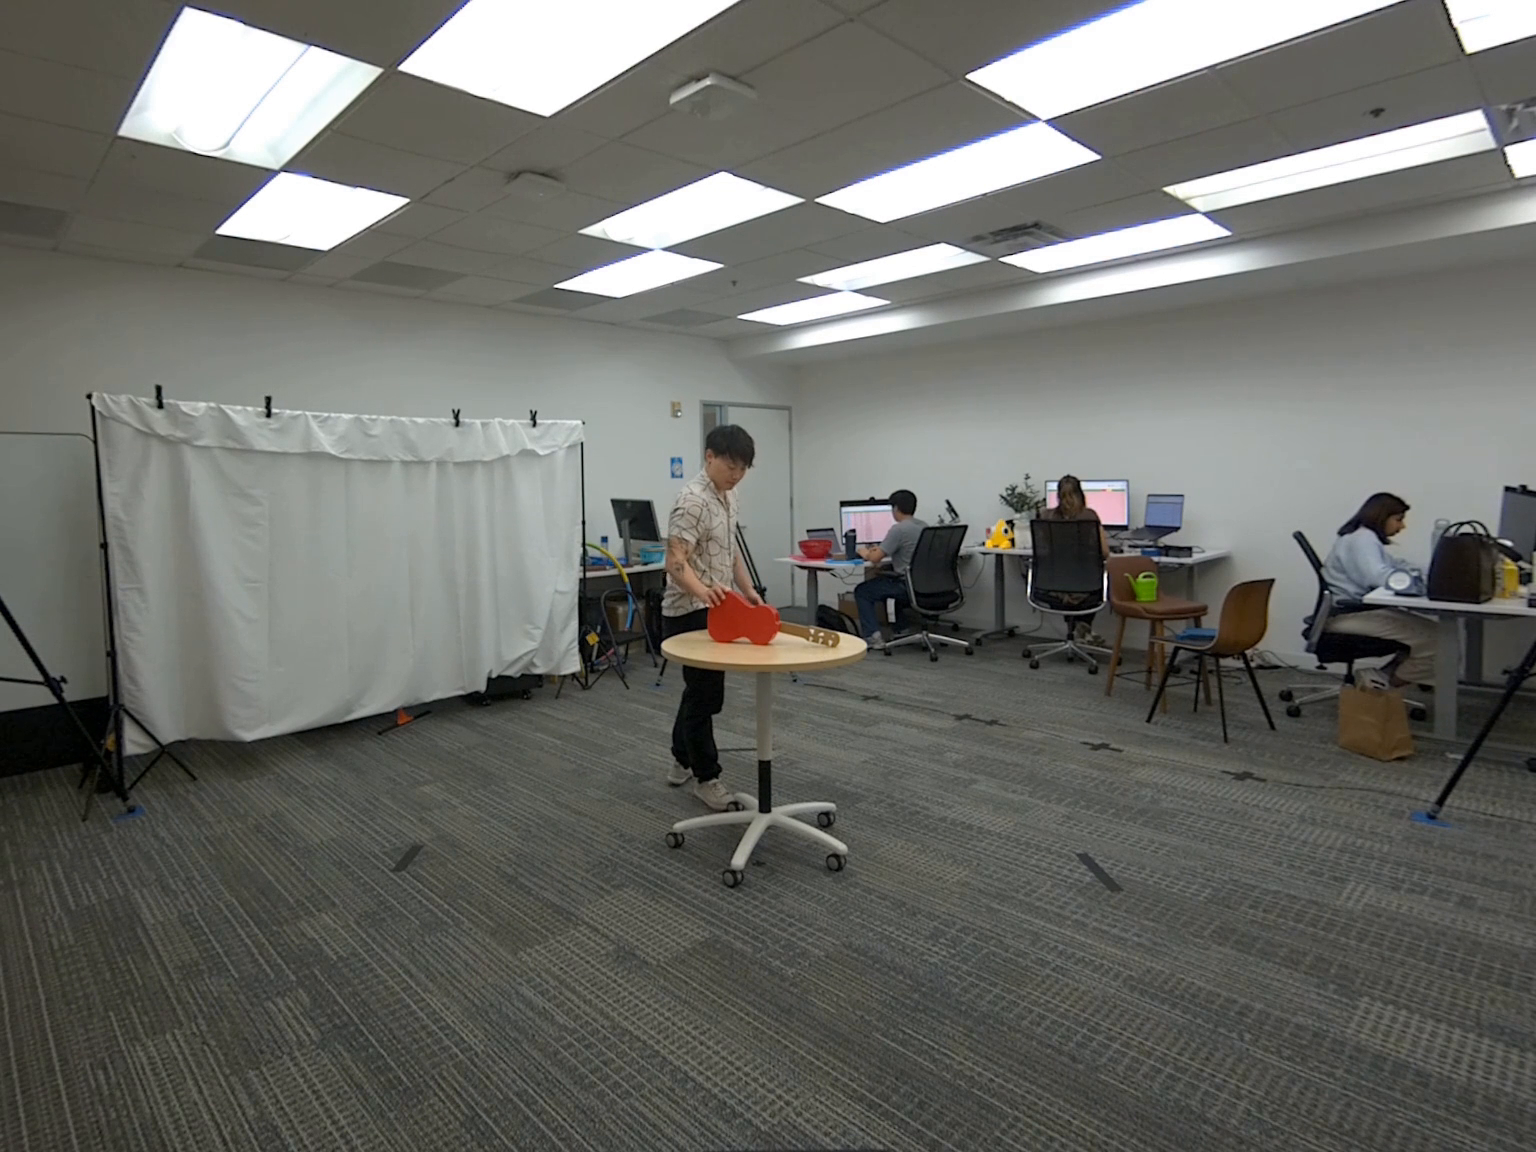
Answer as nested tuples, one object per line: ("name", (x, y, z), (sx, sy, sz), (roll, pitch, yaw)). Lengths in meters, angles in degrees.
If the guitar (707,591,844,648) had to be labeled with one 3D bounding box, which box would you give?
("guitar", (0.021, 0.163, 3.166), (0.507, 0.192, 0.069), (3, 4, 19))
